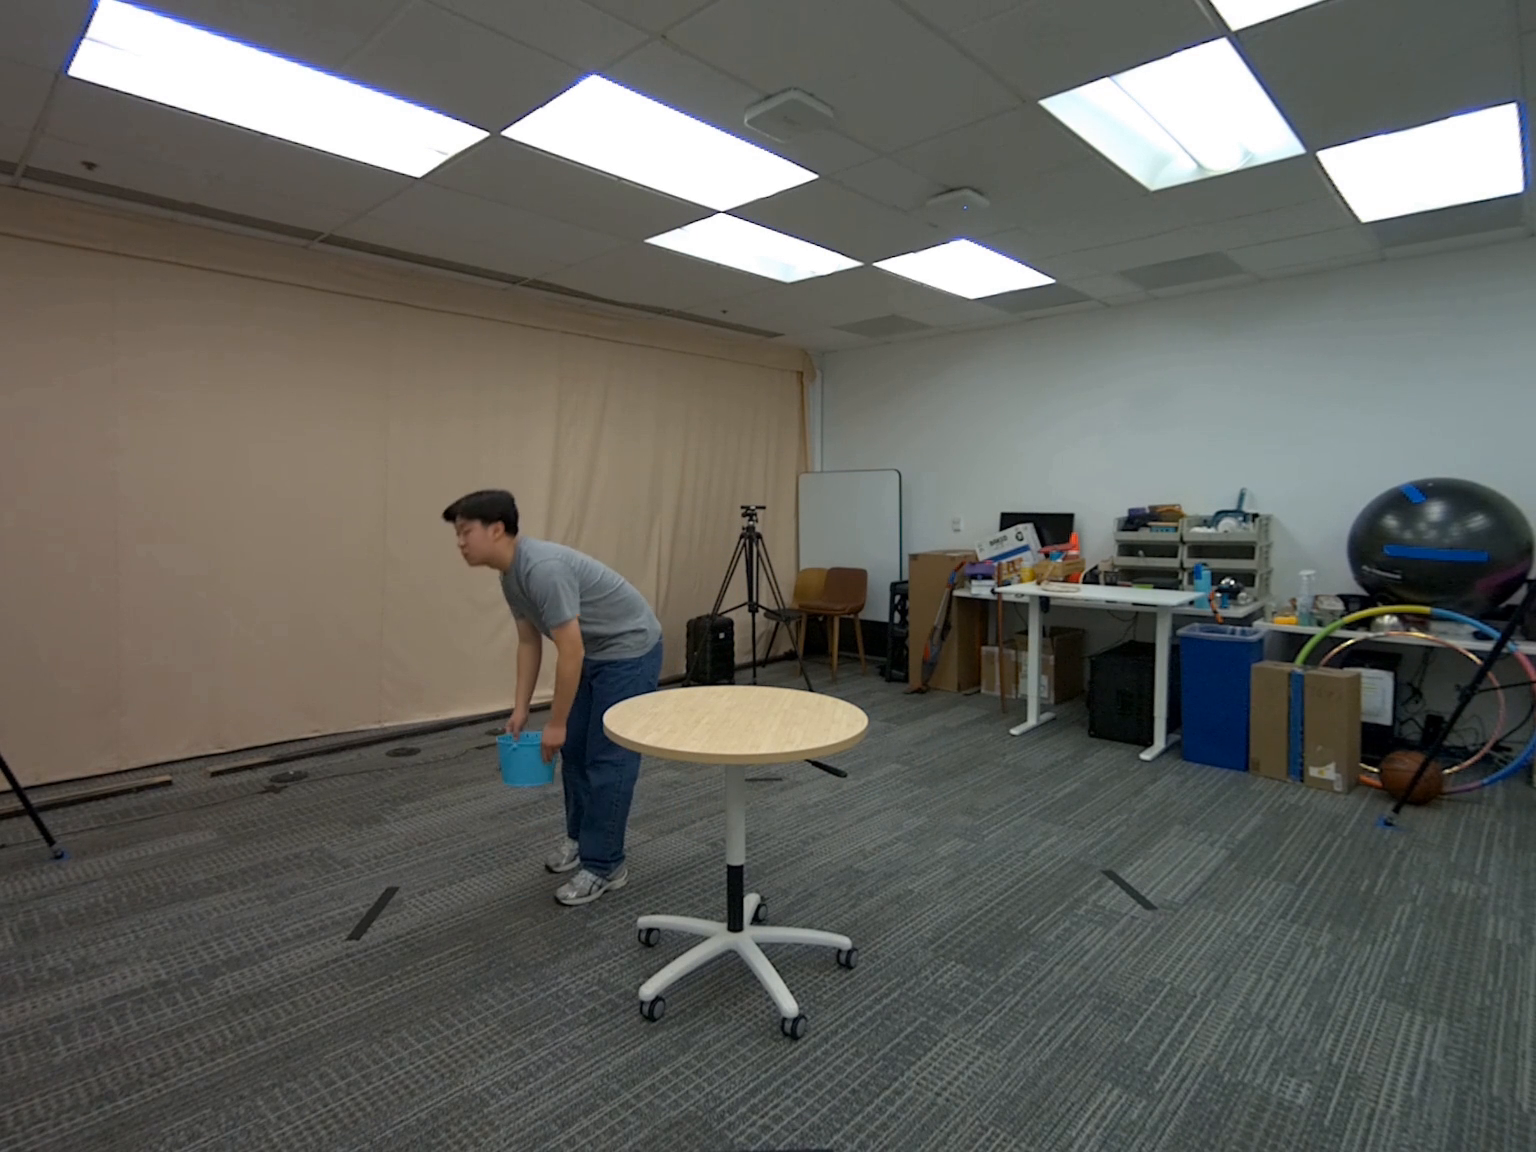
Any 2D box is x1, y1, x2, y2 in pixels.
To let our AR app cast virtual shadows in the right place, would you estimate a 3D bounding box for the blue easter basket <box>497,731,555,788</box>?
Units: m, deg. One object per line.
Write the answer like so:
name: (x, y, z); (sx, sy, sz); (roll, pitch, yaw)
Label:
blue easter basket: (-0.856, 0.671, 3.035); (0.243, 0.156, 0.243); (1, -2, -2)
